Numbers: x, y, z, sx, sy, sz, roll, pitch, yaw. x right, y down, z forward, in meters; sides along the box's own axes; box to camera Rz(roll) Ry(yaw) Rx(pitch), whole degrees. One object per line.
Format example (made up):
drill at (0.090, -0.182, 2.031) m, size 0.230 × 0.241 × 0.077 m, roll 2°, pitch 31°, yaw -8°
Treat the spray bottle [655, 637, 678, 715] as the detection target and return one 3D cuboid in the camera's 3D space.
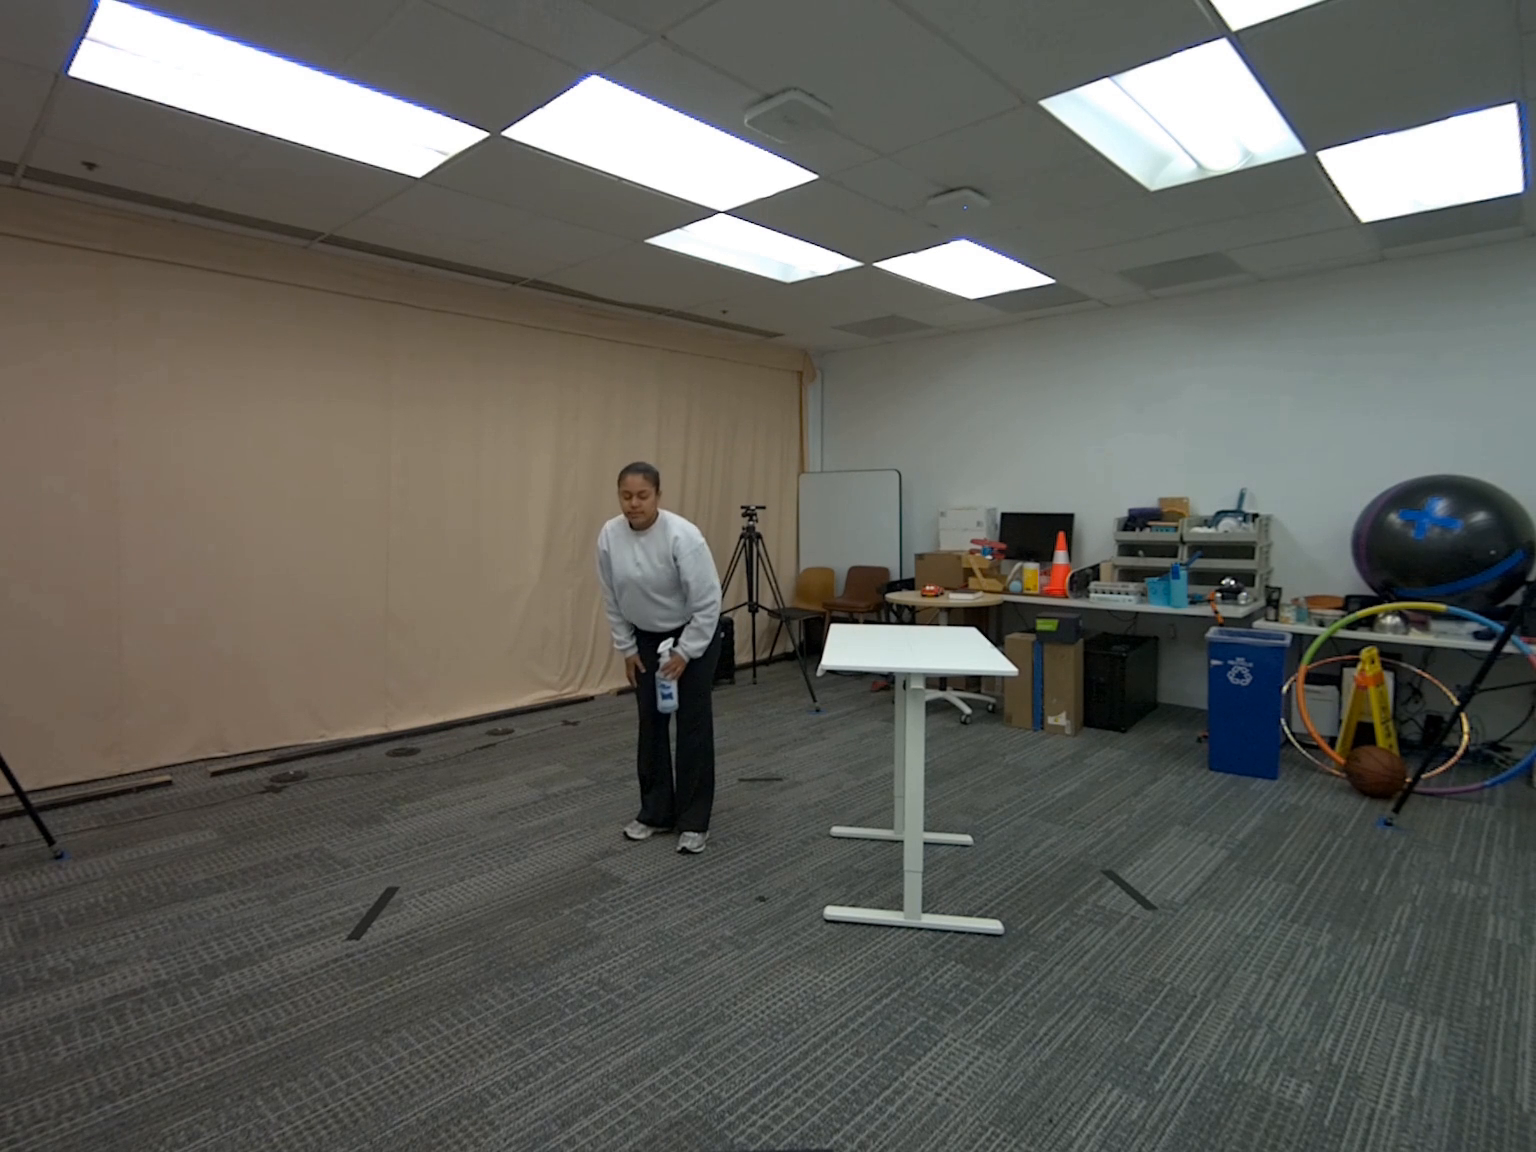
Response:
spray bottle at (-0.401, 0.405, 3.404) m, size 0.088 × 0.294 × 0.090 m, roll -7°, pitch 19°, yaw -27°
